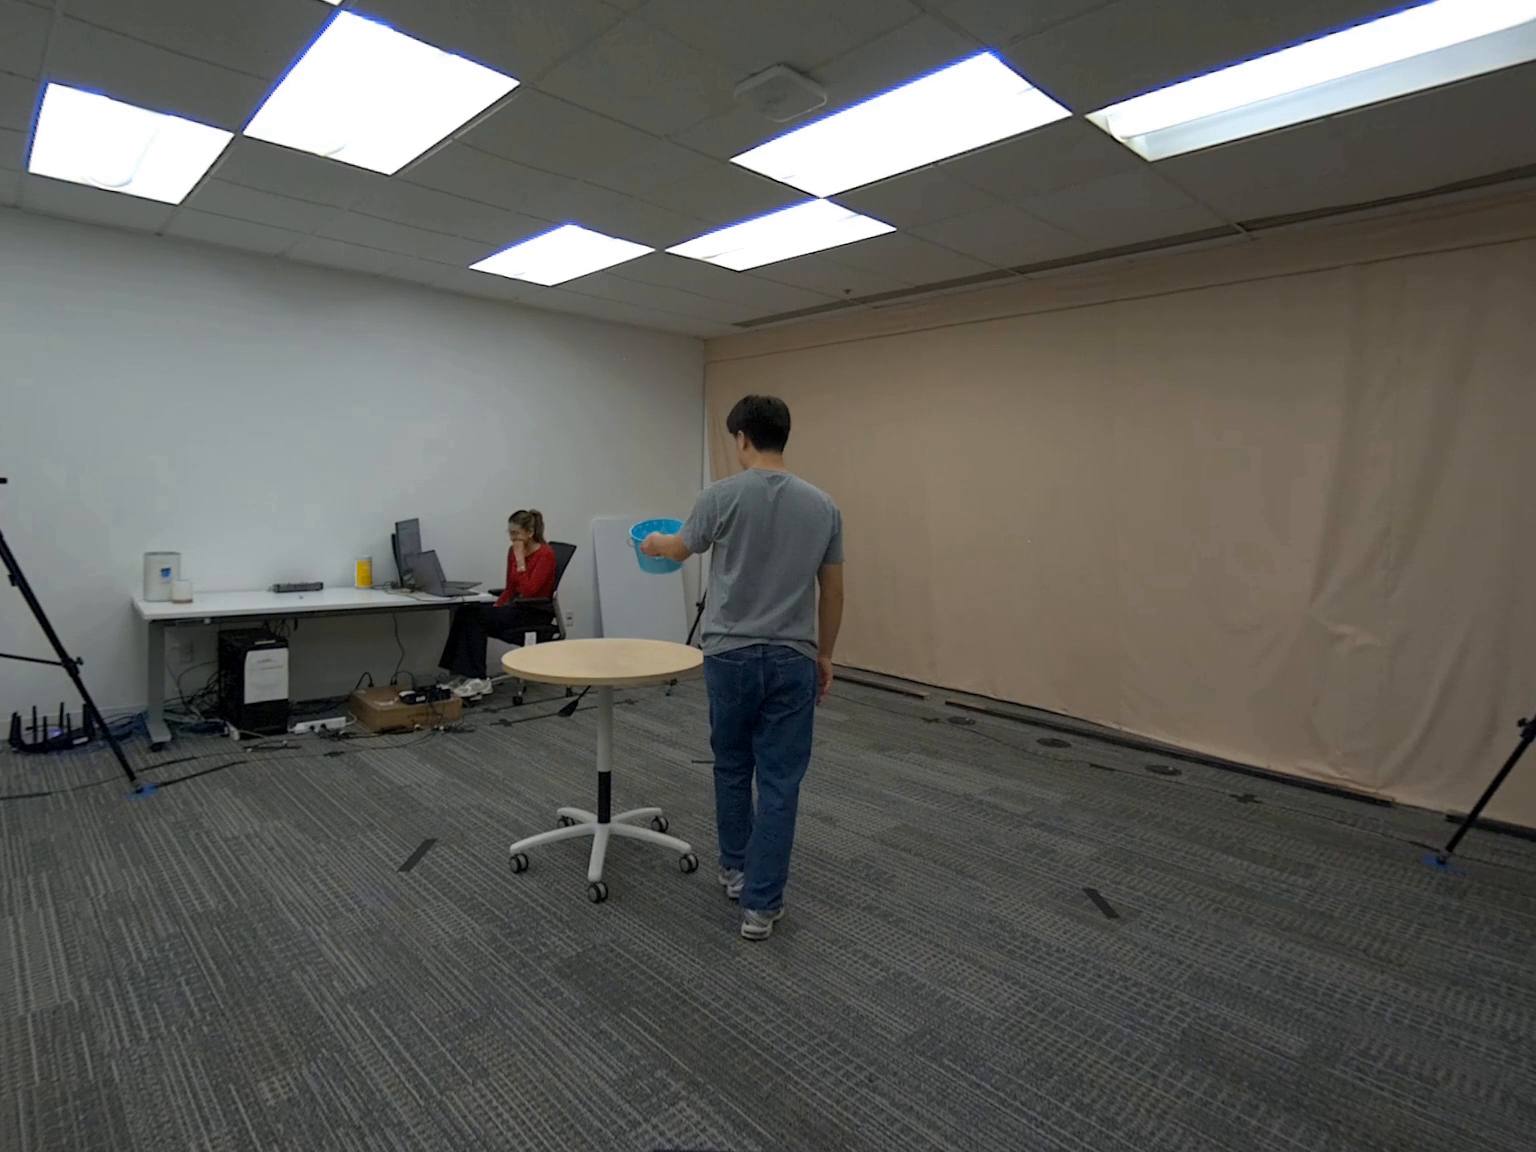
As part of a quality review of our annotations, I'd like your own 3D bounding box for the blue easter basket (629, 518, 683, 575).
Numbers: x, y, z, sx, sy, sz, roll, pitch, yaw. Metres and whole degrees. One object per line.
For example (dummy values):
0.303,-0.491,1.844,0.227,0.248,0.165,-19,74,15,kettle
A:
-0.428,-0.109,3.355,0.243,0.153,0.248,-2,26,0,blue easter basket
